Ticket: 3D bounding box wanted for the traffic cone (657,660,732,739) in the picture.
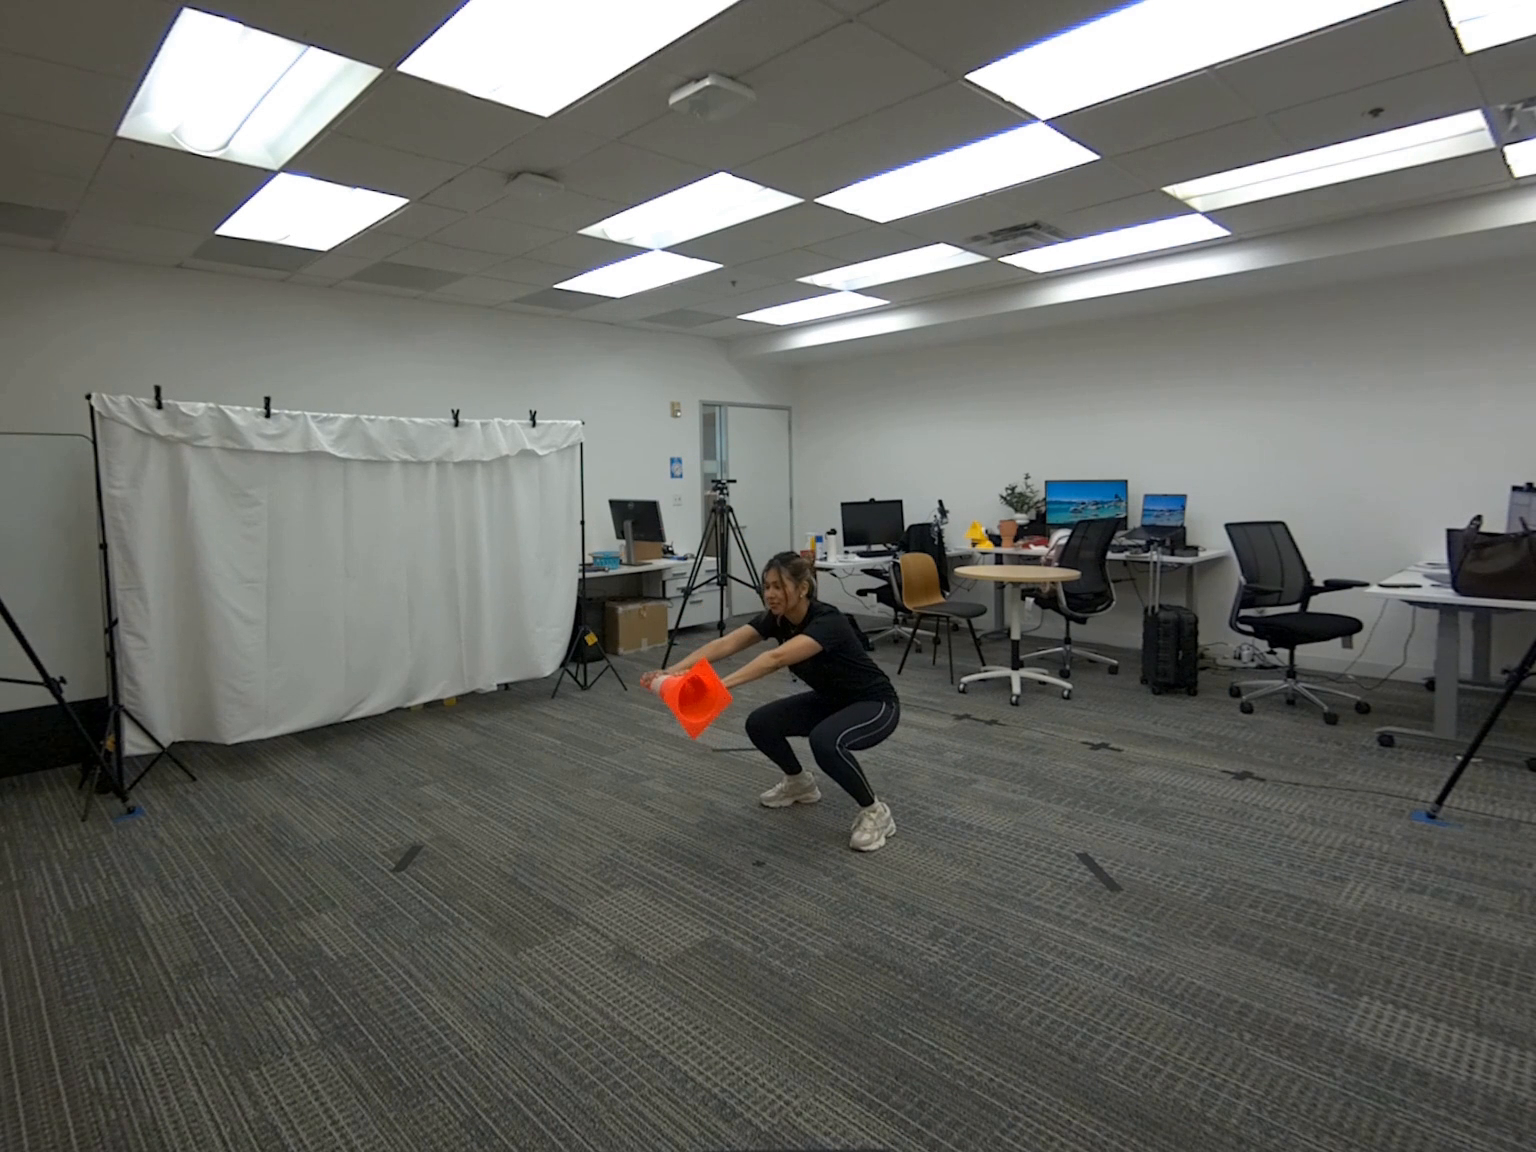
[{"bbox_3d":[-0.338,0.387,2.991,0.203,0.200,0.394,-43,24,-25],"label":"traffic cone"}]
